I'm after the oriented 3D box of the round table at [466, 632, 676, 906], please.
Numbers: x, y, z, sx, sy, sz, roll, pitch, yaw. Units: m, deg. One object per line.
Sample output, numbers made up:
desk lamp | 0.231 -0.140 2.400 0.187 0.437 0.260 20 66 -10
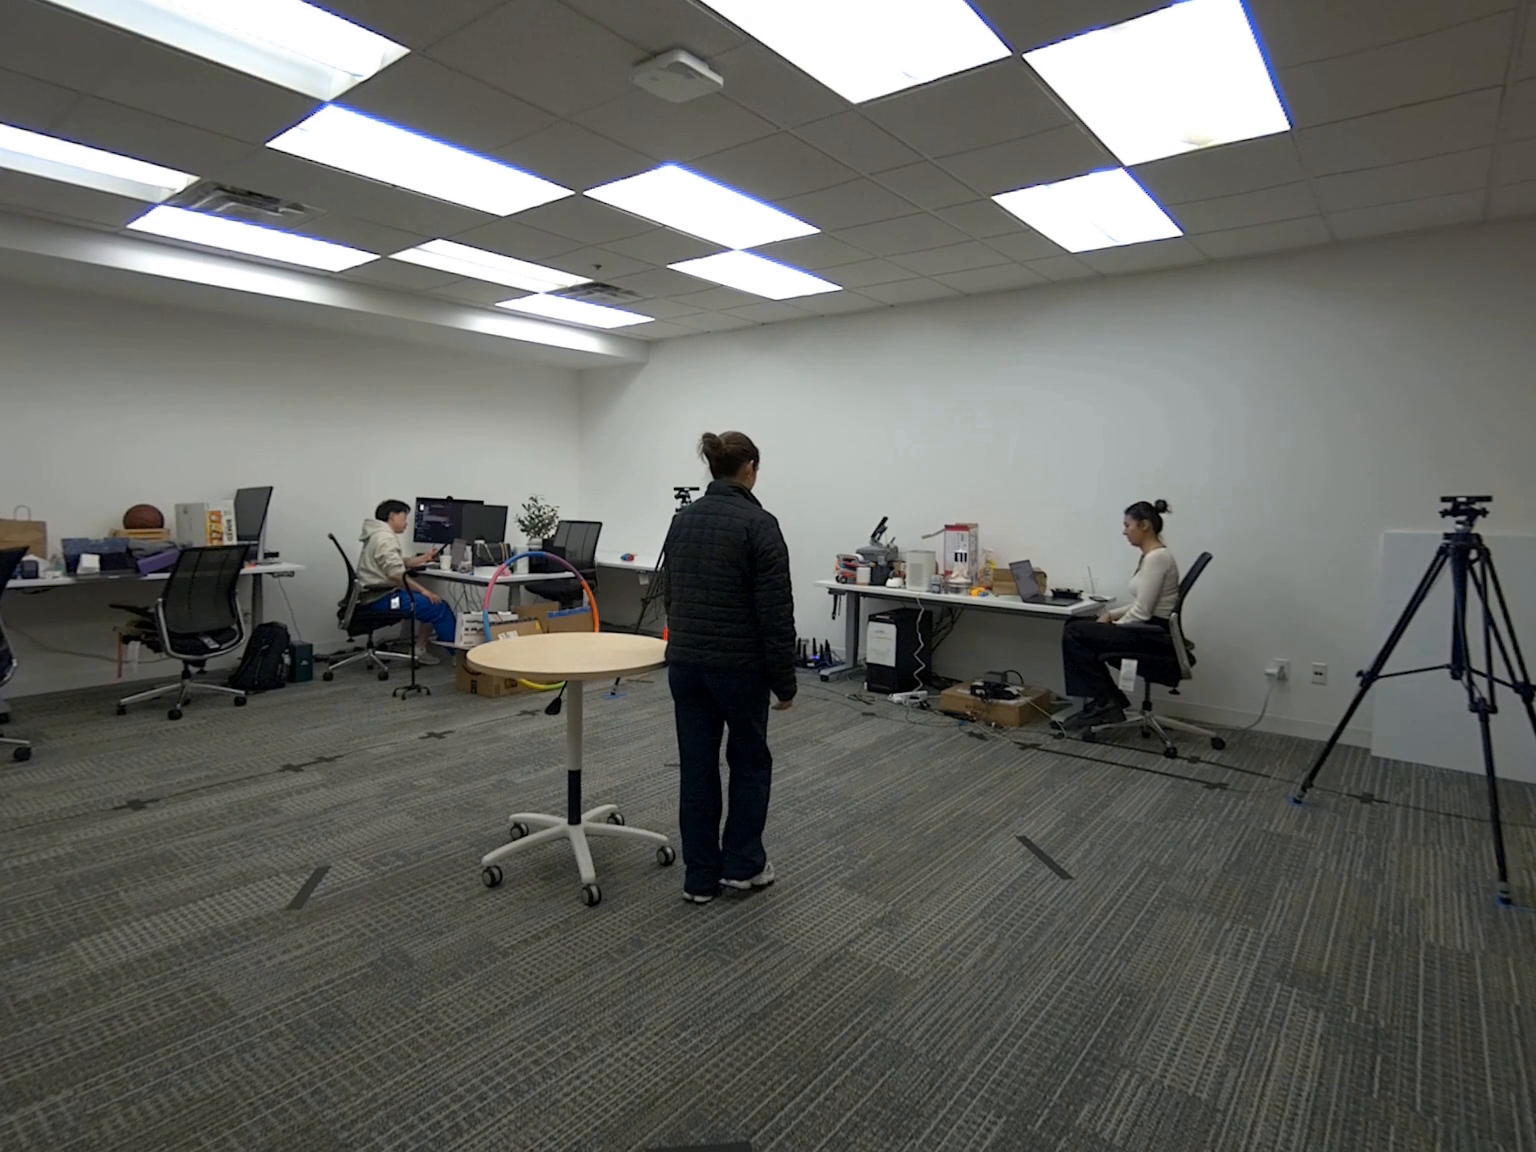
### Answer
round table | -0.692 0.662 3.159 0.784 0.784 0.789 0 4 -2
